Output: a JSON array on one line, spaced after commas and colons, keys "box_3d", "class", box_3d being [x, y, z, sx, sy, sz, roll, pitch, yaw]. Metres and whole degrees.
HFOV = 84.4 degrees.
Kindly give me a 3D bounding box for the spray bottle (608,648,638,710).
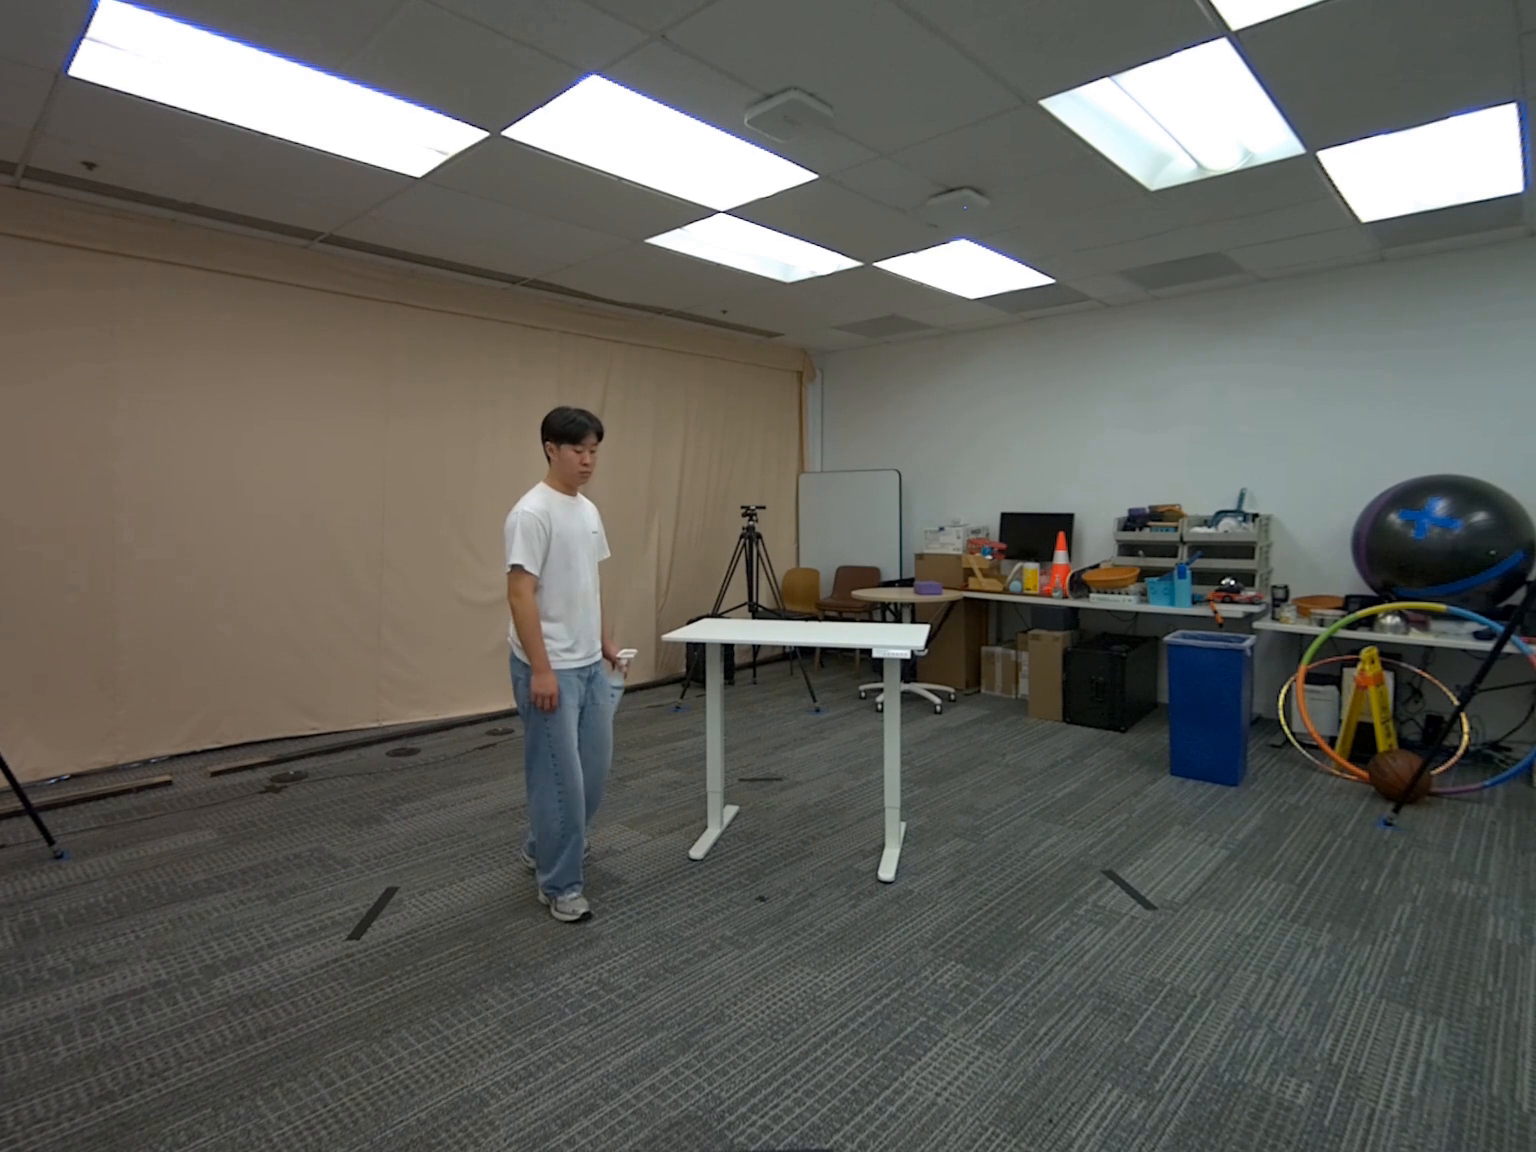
[{"box_3d": [-0.595, 0.420, 3.270, 0.088, 0.296, 0.089, 15, 11, -22], "class": "spray bottle"}]
